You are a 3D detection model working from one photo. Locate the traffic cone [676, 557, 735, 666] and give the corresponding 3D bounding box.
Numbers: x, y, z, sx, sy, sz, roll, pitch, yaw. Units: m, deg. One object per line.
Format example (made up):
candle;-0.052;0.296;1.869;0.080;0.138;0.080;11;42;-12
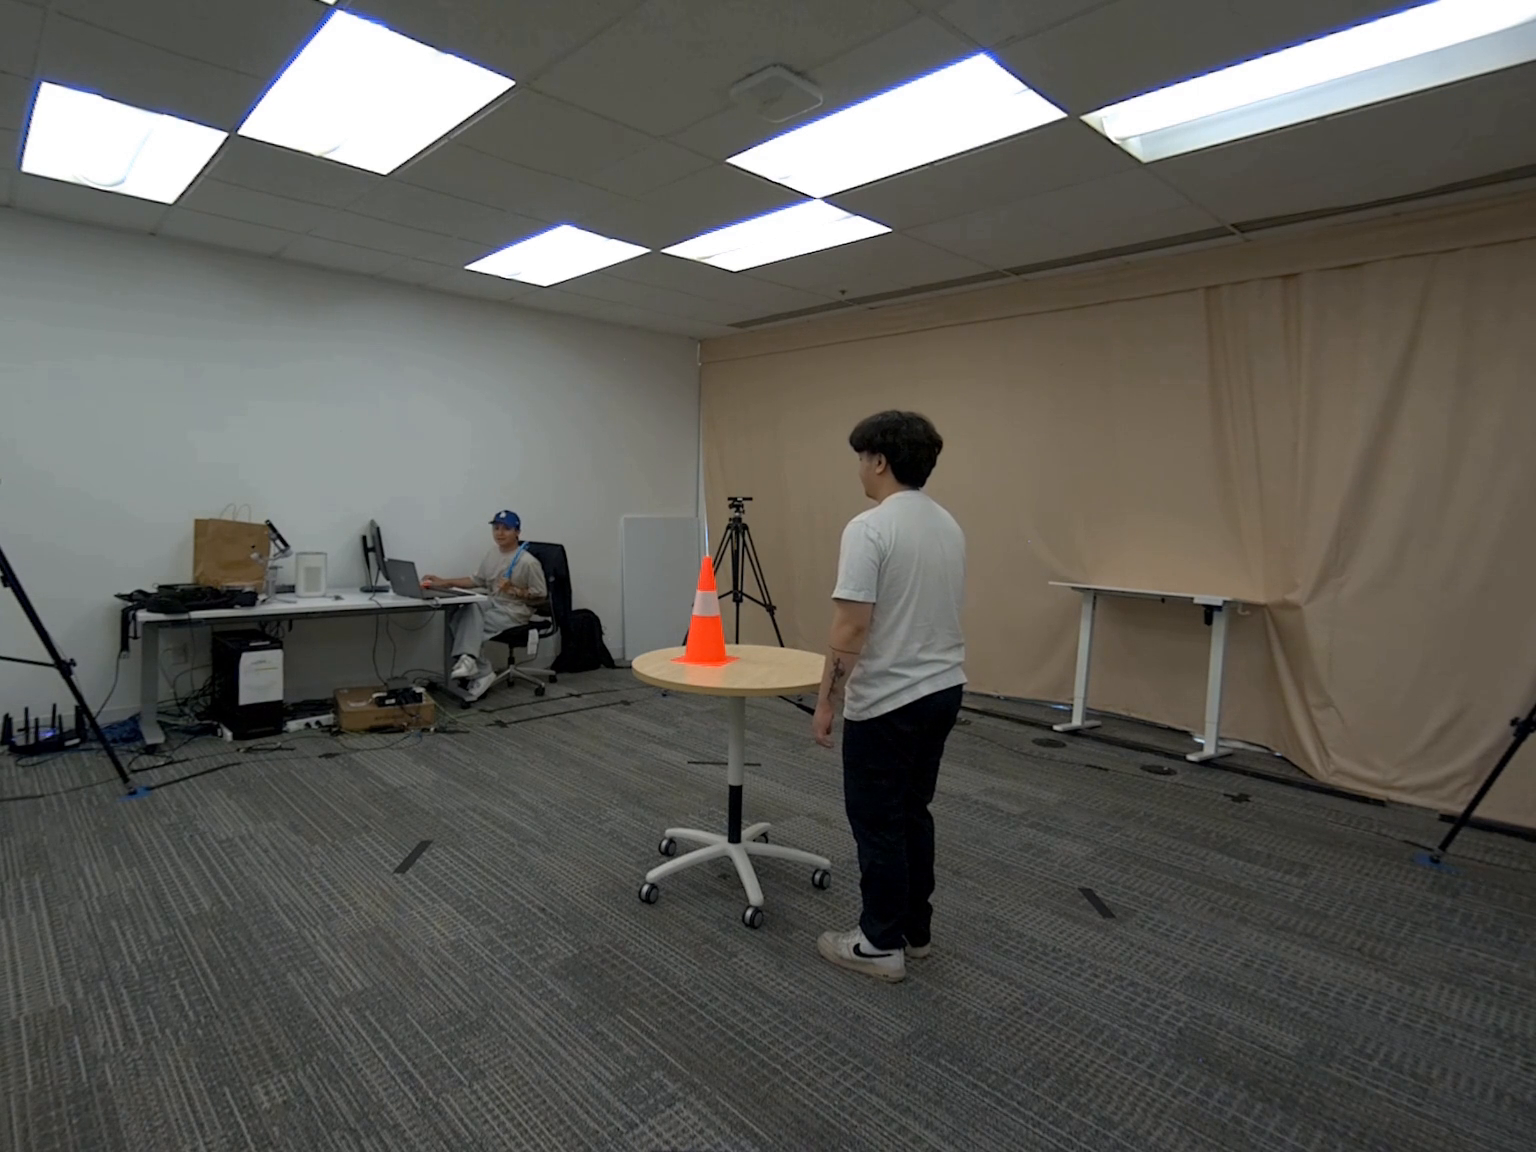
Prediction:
traffic cone;-0.230;0.123;3.087;0.207;0.383;0.201;4;3;25
